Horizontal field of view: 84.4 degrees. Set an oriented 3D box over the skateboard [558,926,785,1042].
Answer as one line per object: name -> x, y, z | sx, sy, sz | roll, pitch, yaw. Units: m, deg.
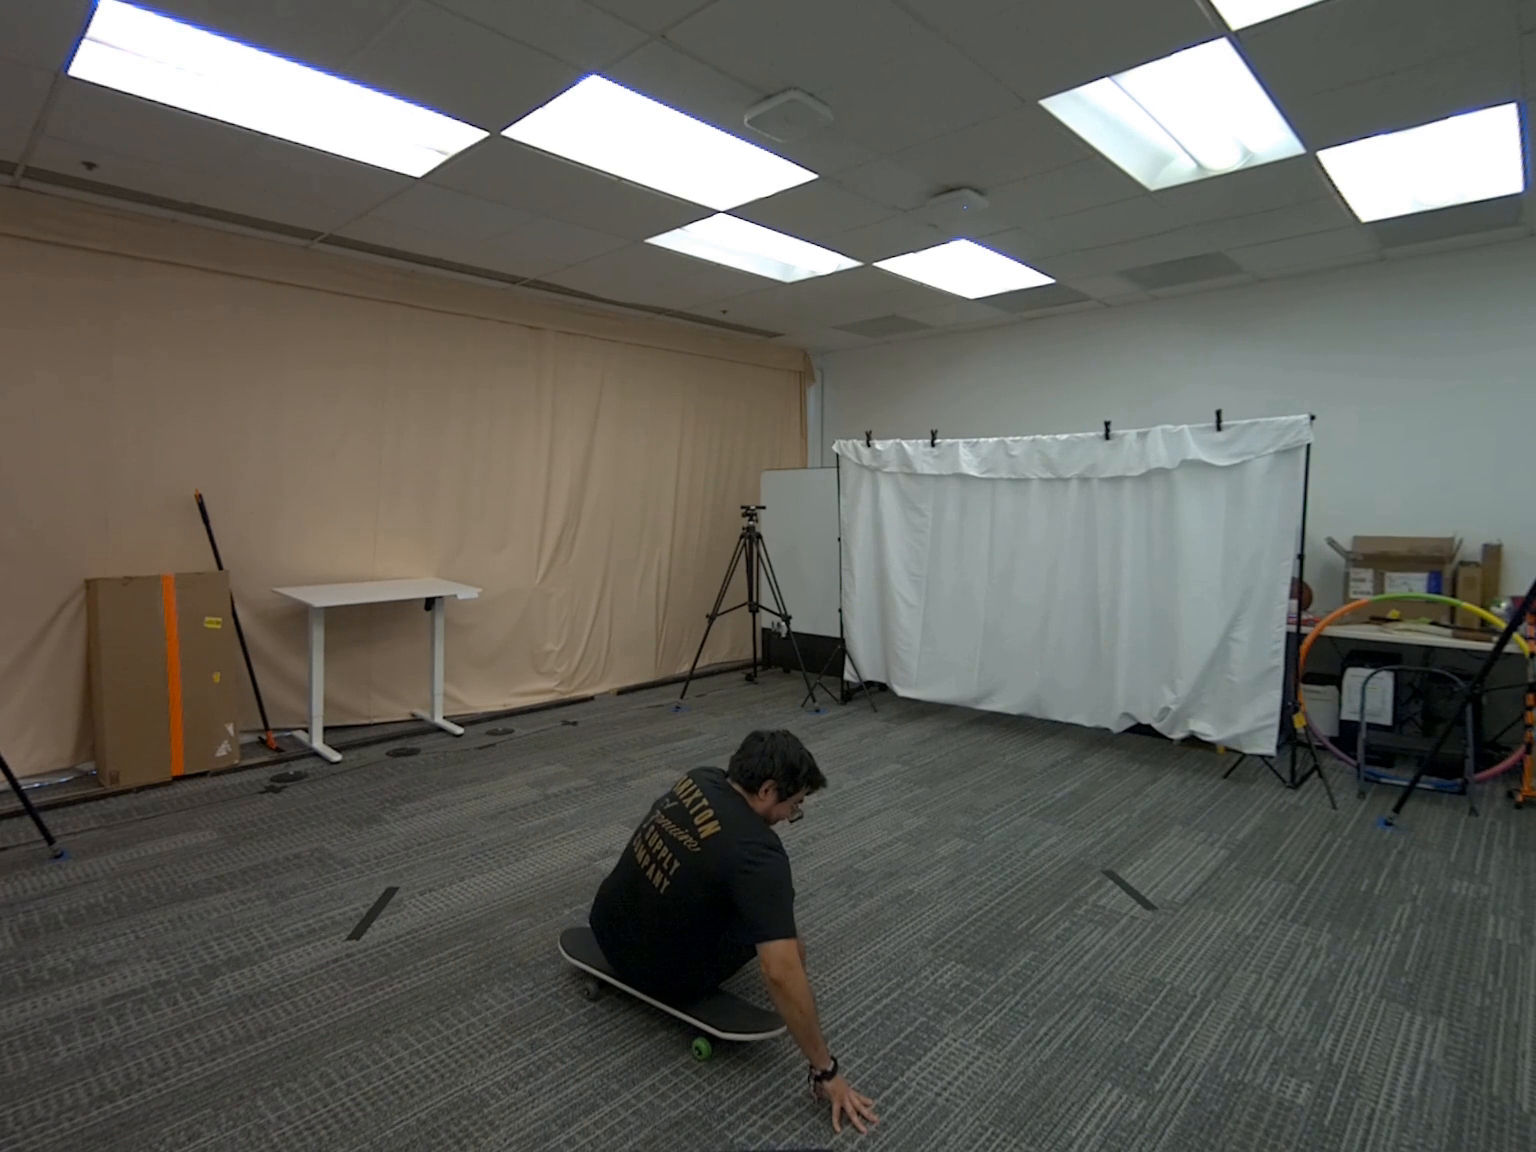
skateboard -> -0.284, 1.139, 2.316 | 0.811, 0.110, 0.187 | 4, -2, 38
